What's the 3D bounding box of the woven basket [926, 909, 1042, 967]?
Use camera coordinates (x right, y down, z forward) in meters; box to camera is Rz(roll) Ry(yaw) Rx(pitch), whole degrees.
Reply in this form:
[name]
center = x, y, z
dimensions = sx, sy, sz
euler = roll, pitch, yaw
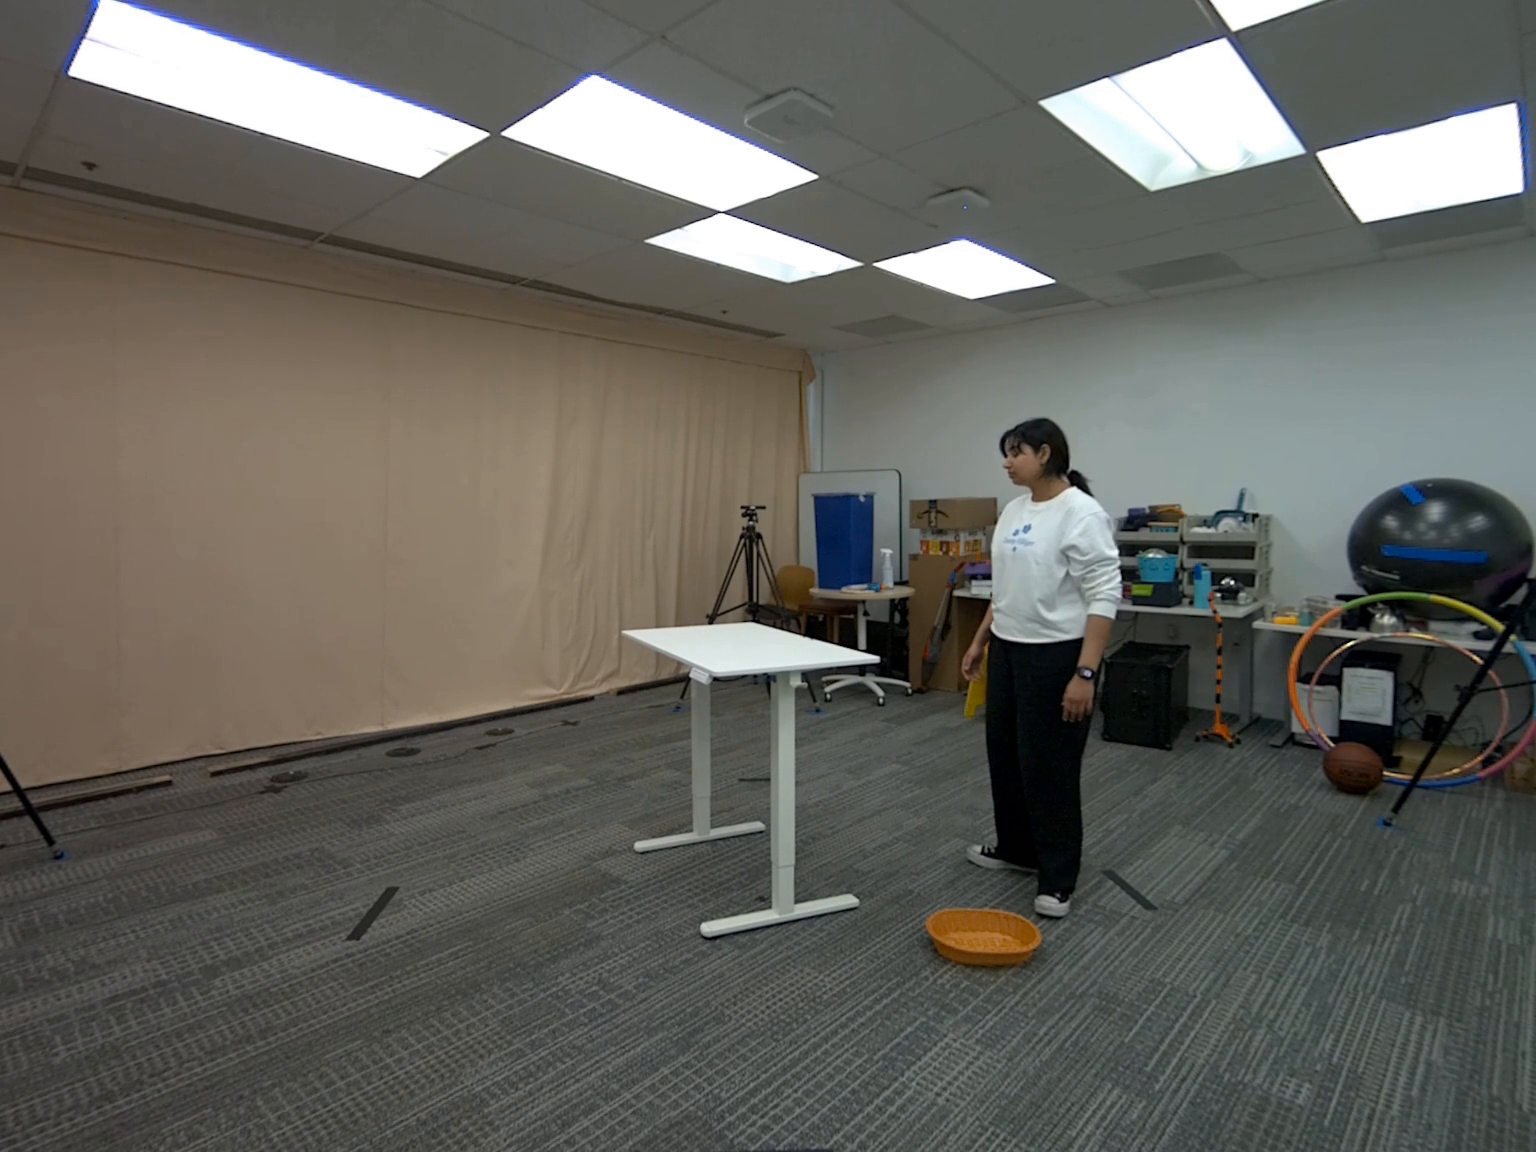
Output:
[woven basket]
center = 0.678, 1.130, 2.629
dimensions = 0.352, 0.073, 0.252
euler = 0, 7, 3
